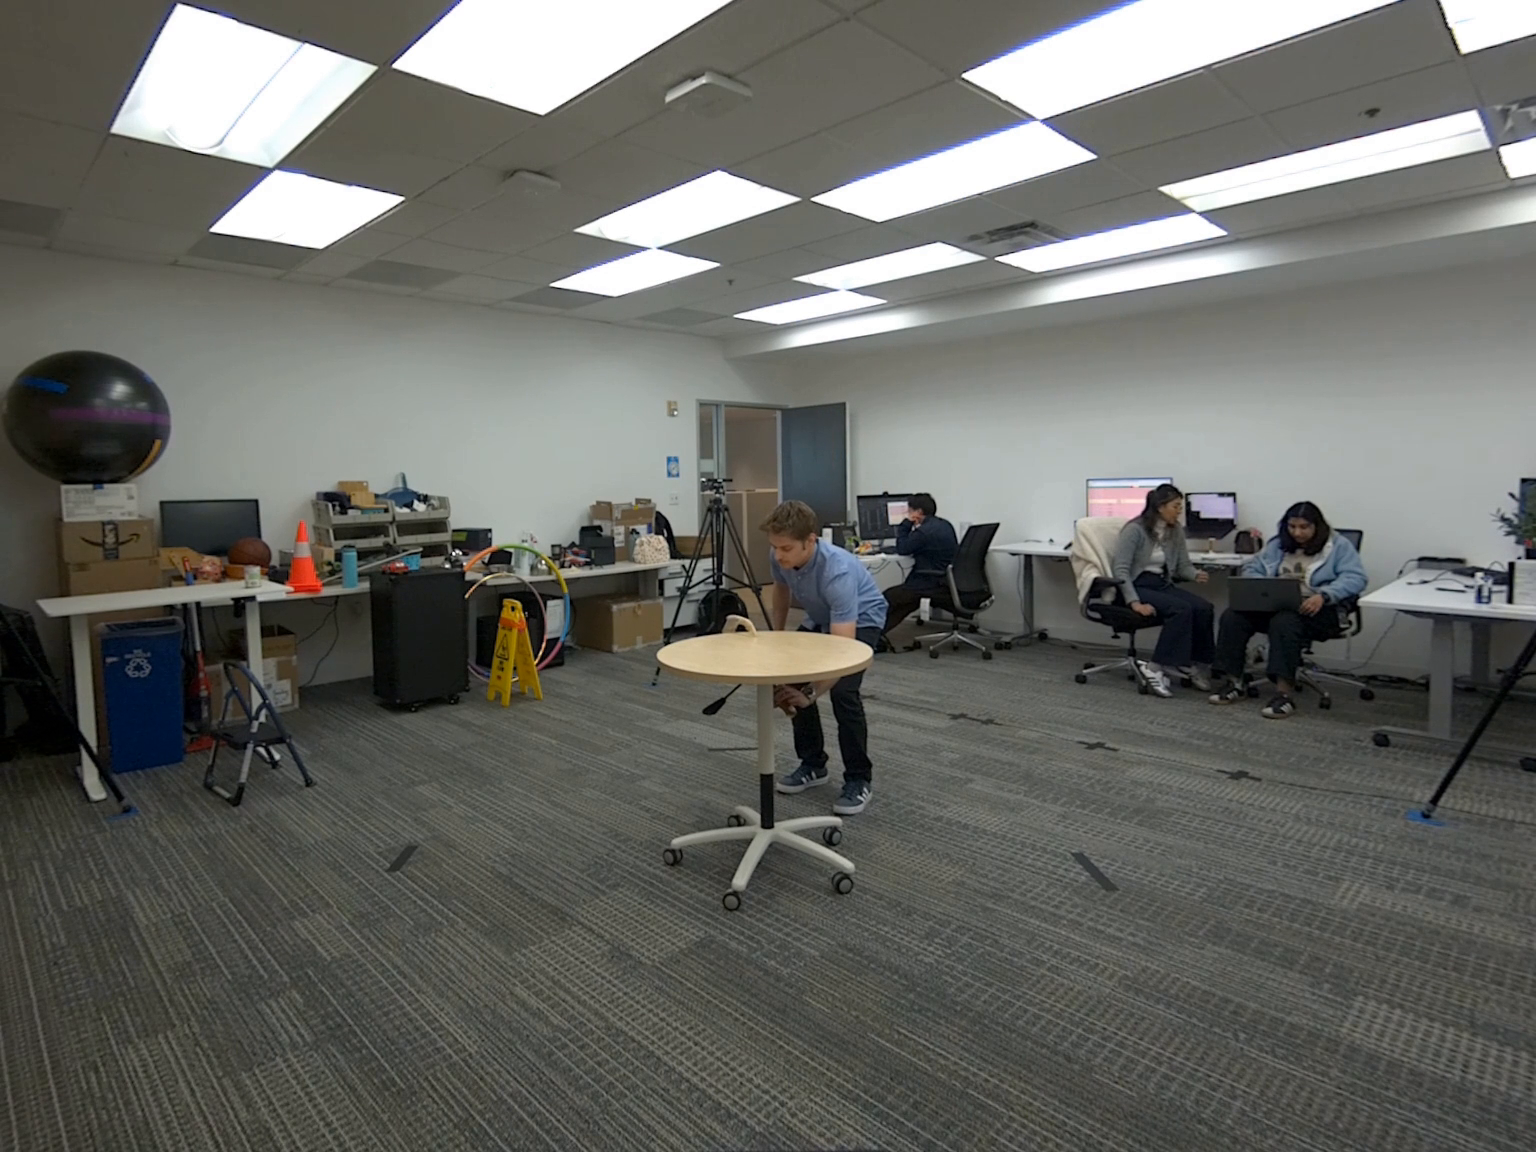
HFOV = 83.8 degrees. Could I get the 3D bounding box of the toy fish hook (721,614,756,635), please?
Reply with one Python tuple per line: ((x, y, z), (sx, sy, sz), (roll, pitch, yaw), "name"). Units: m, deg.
((-0.023, 0.336, 3.316), (0.047, 0.220, 0.527), (-12, 36, -33), "toy fish hook")
